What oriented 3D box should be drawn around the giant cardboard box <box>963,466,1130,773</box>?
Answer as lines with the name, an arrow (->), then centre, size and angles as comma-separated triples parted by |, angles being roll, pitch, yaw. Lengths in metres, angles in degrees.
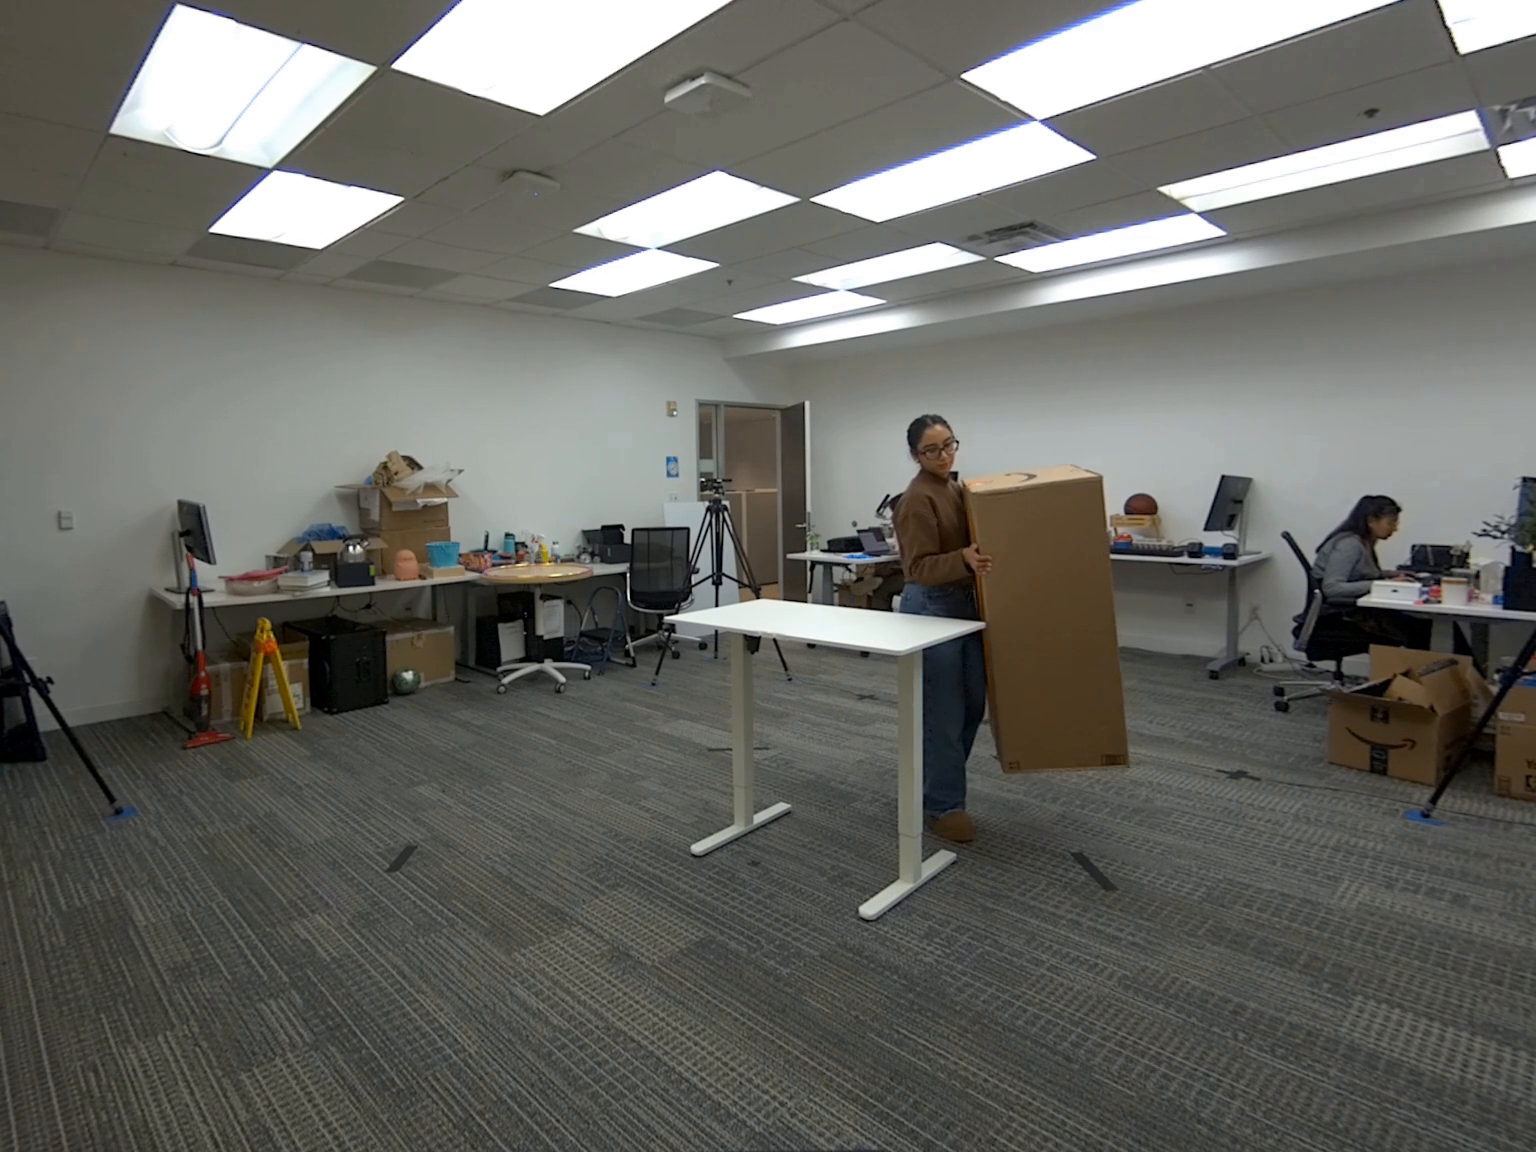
giant cardboard box -> 1.029, 0.132, 3.207 | 0.431, 1.019, 0.575 | -7, 7, 13
